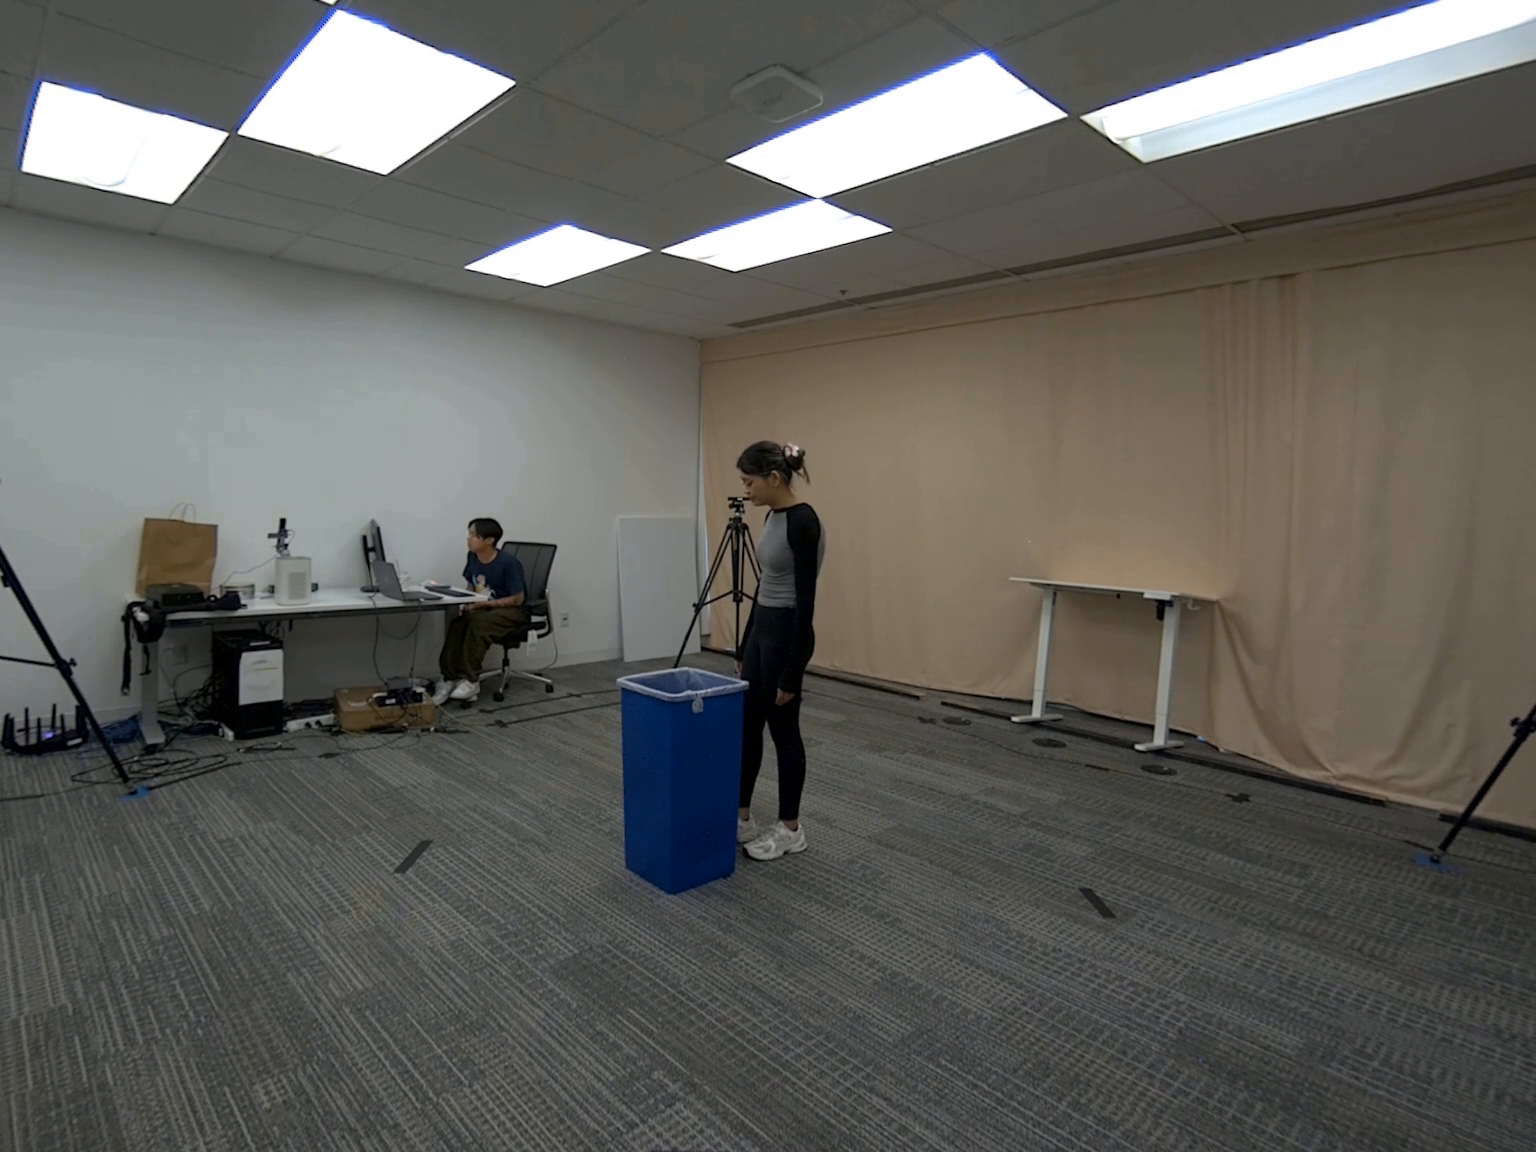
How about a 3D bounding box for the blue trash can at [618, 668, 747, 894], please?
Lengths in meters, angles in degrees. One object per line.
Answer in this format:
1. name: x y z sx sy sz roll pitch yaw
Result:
1. blue trash can: -0.337 0.743 3.132 0.369 0.712 0.383 -1 4 -42
